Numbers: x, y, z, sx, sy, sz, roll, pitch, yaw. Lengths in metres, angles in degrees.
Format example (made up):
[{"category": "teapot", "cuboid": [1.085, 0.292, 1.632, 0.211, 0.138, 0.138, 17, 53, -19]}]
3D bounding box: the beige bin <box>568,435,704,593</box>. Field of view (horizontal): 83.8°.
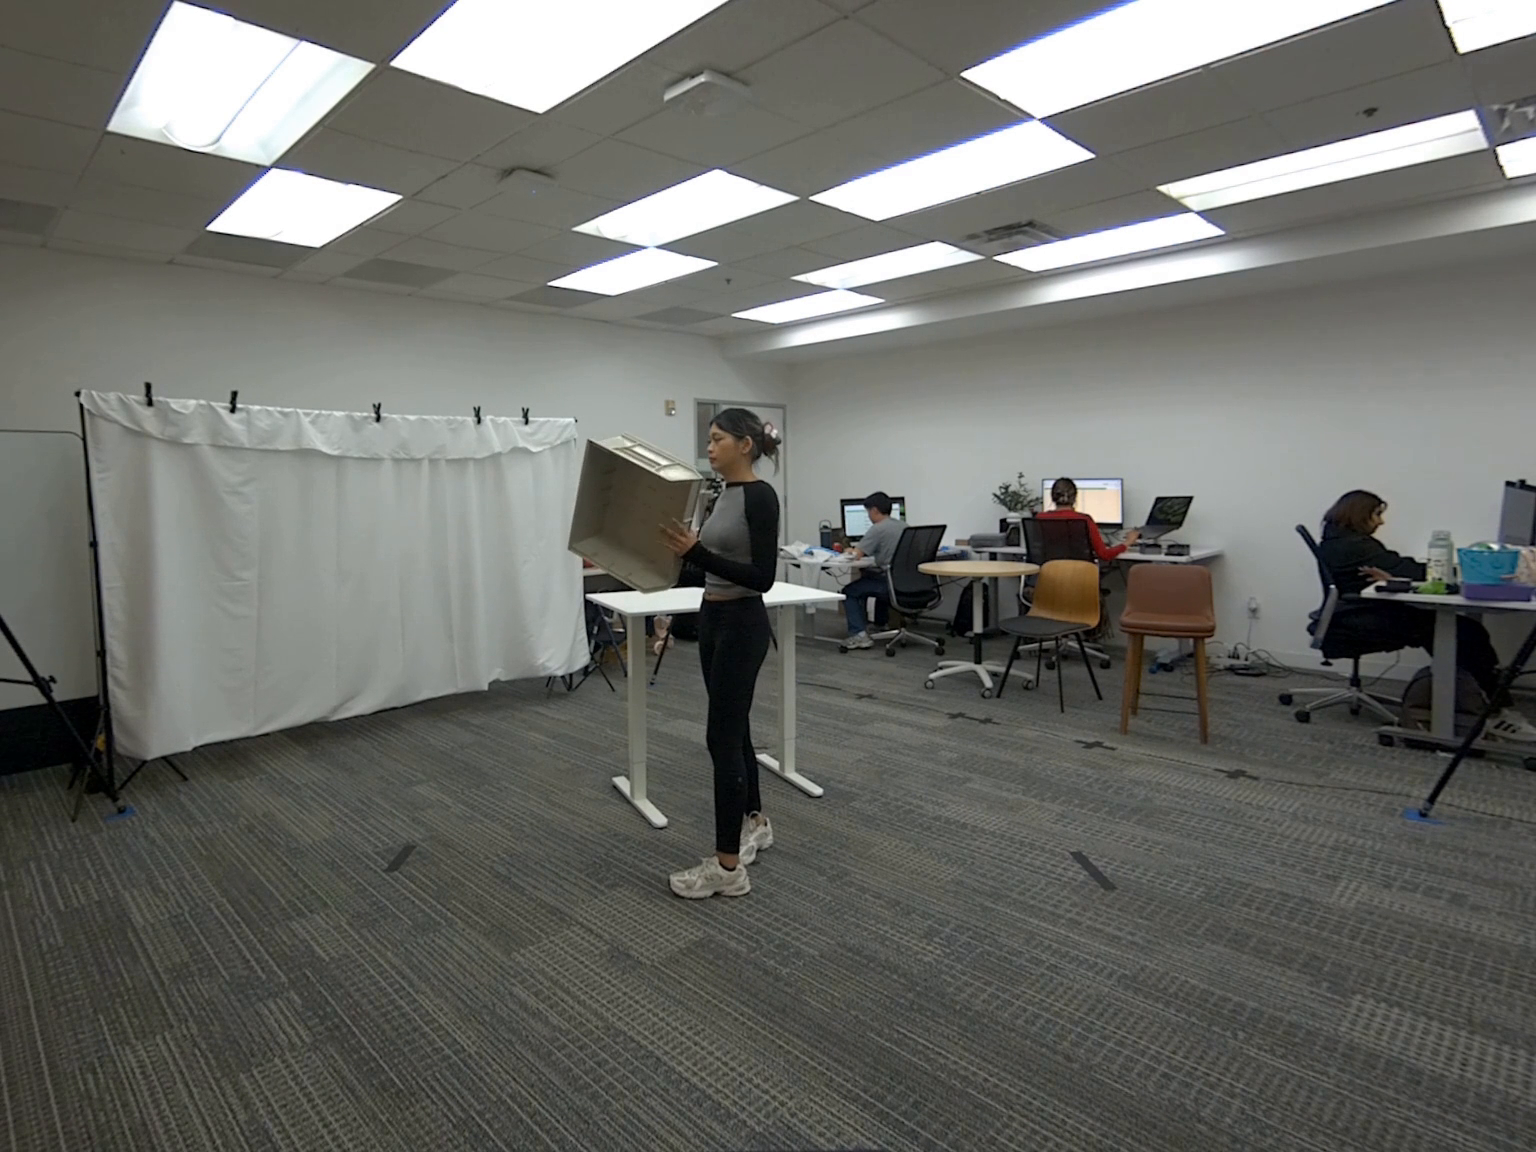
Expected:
[{"category": "beige bin", "cuboid": [-0.436, -0.212, 2.849, 0.389, 0.416, 0.186, 29, 29, 25]}]
